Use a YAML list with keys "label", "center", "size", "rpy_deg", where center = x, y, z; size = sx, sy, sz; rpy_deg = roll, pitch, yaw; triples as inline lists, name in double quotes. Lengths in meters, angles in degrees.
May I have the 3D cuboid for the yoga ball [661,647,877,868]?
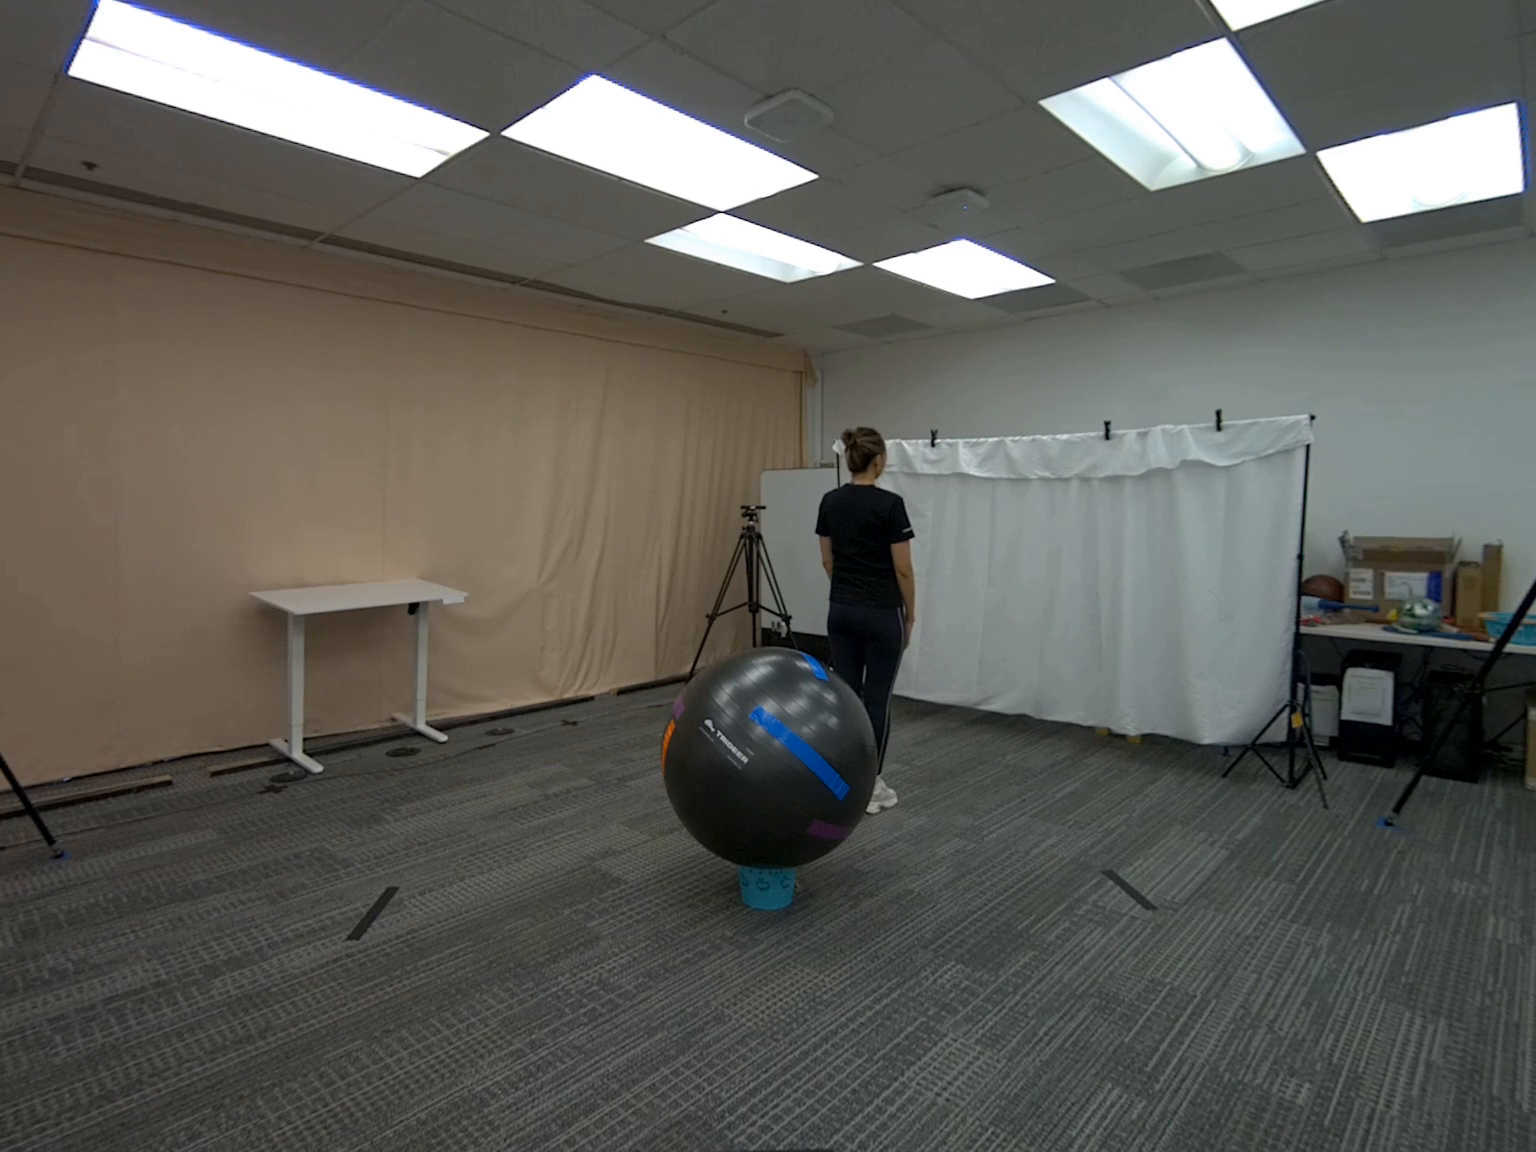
- label: "yoga ball"
  center: [0.007, 0.636, 2.967]
  size: [0.757, 0.756, 0.760]
  rpy_deg: [0, 4, -2]
